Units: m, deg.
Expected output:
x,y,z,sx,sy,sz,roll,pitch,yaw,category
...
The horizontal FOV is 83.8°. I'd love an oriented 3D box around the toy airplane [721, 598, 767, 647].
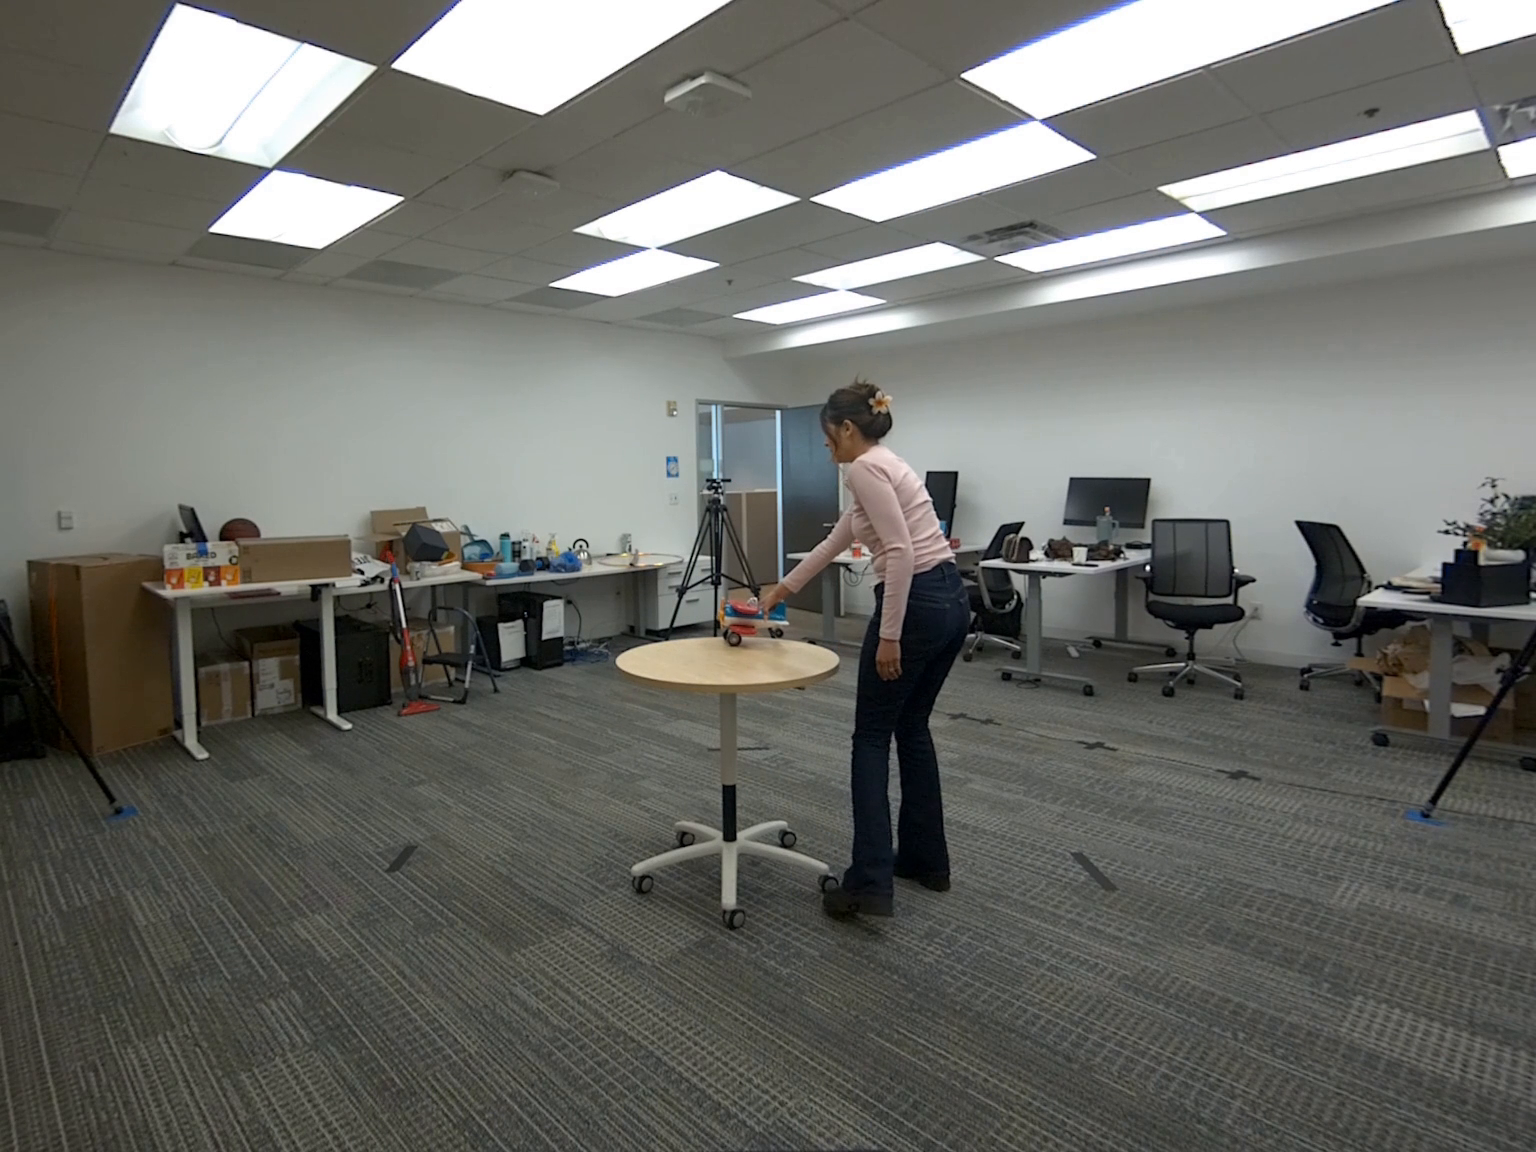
x,y,z,sx,sy,sz,roll,pitch,yaw,category
-0.071,0.163,3.204,0.253,0.155,0.258,-13,9,-38,toy airplane
